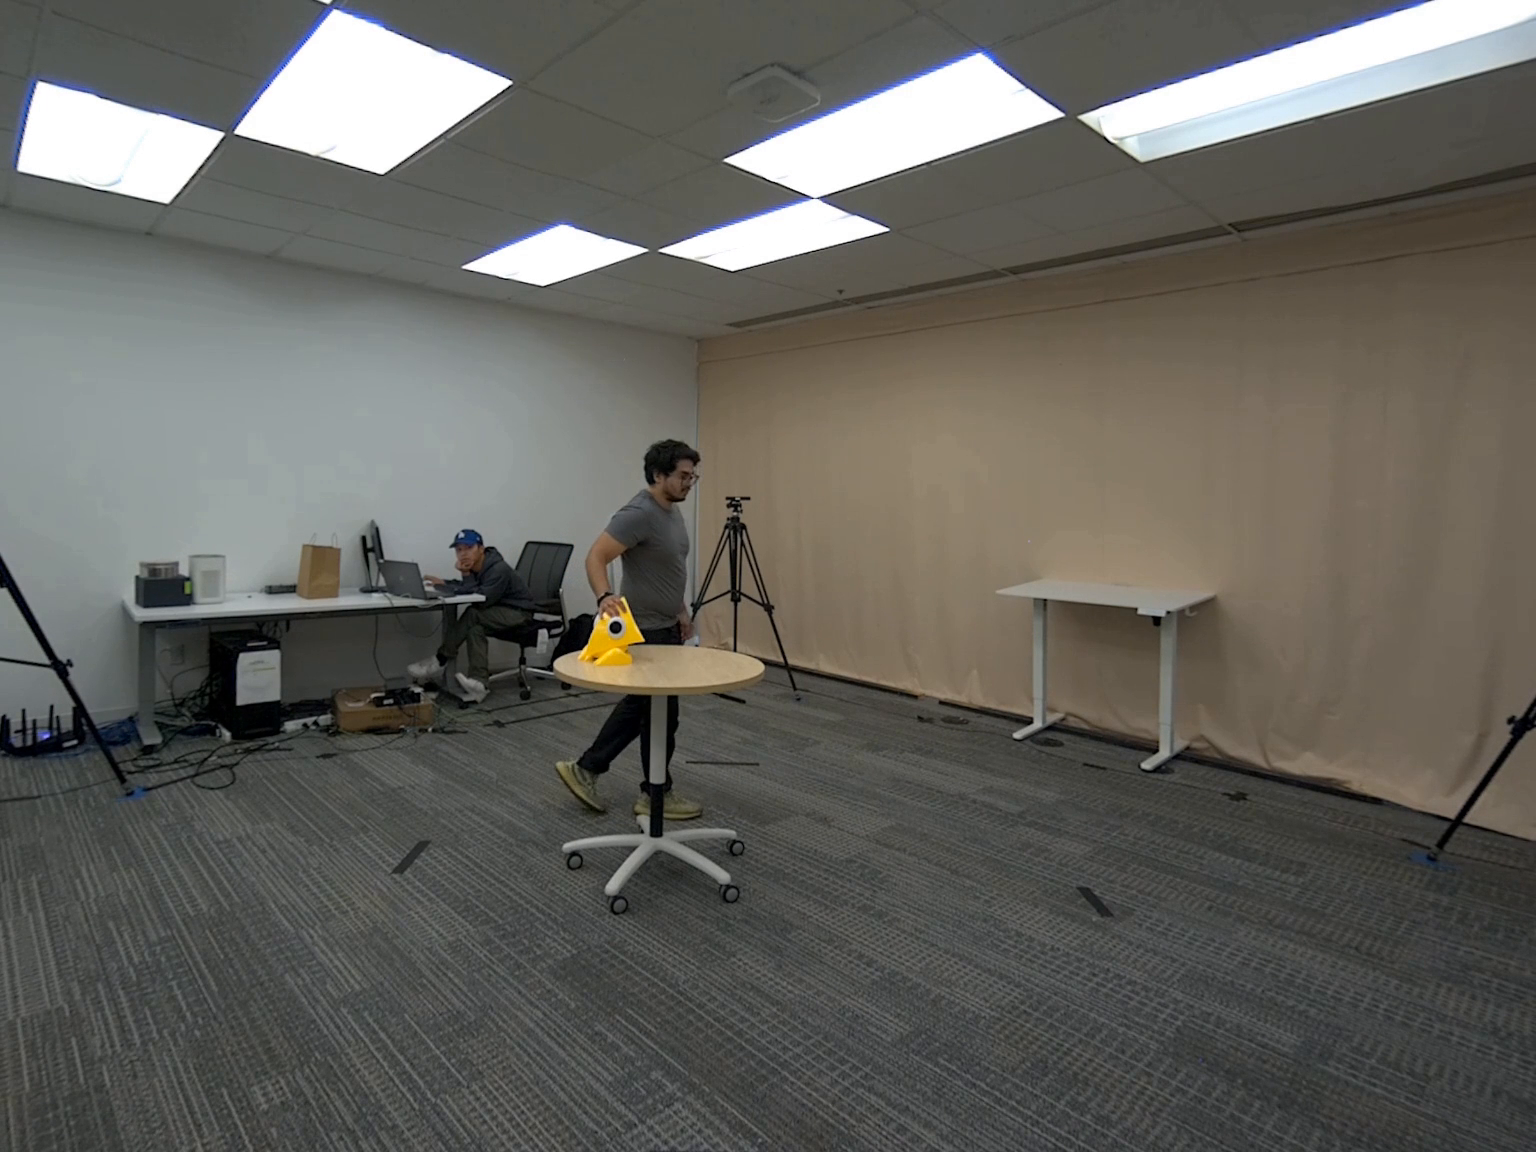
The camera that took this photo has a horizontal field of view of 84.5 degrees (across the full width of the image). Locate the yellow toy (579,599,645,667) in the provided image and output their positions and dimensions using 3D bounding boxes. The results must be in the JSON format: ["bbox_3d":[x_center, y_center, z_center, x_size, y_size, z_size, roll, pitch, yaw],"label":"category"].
[{"bbox_3d":[-0.602,0.201,3.105,0.188,0.230,0.210,-1,4,-40],"label":"yellow toy"}]
